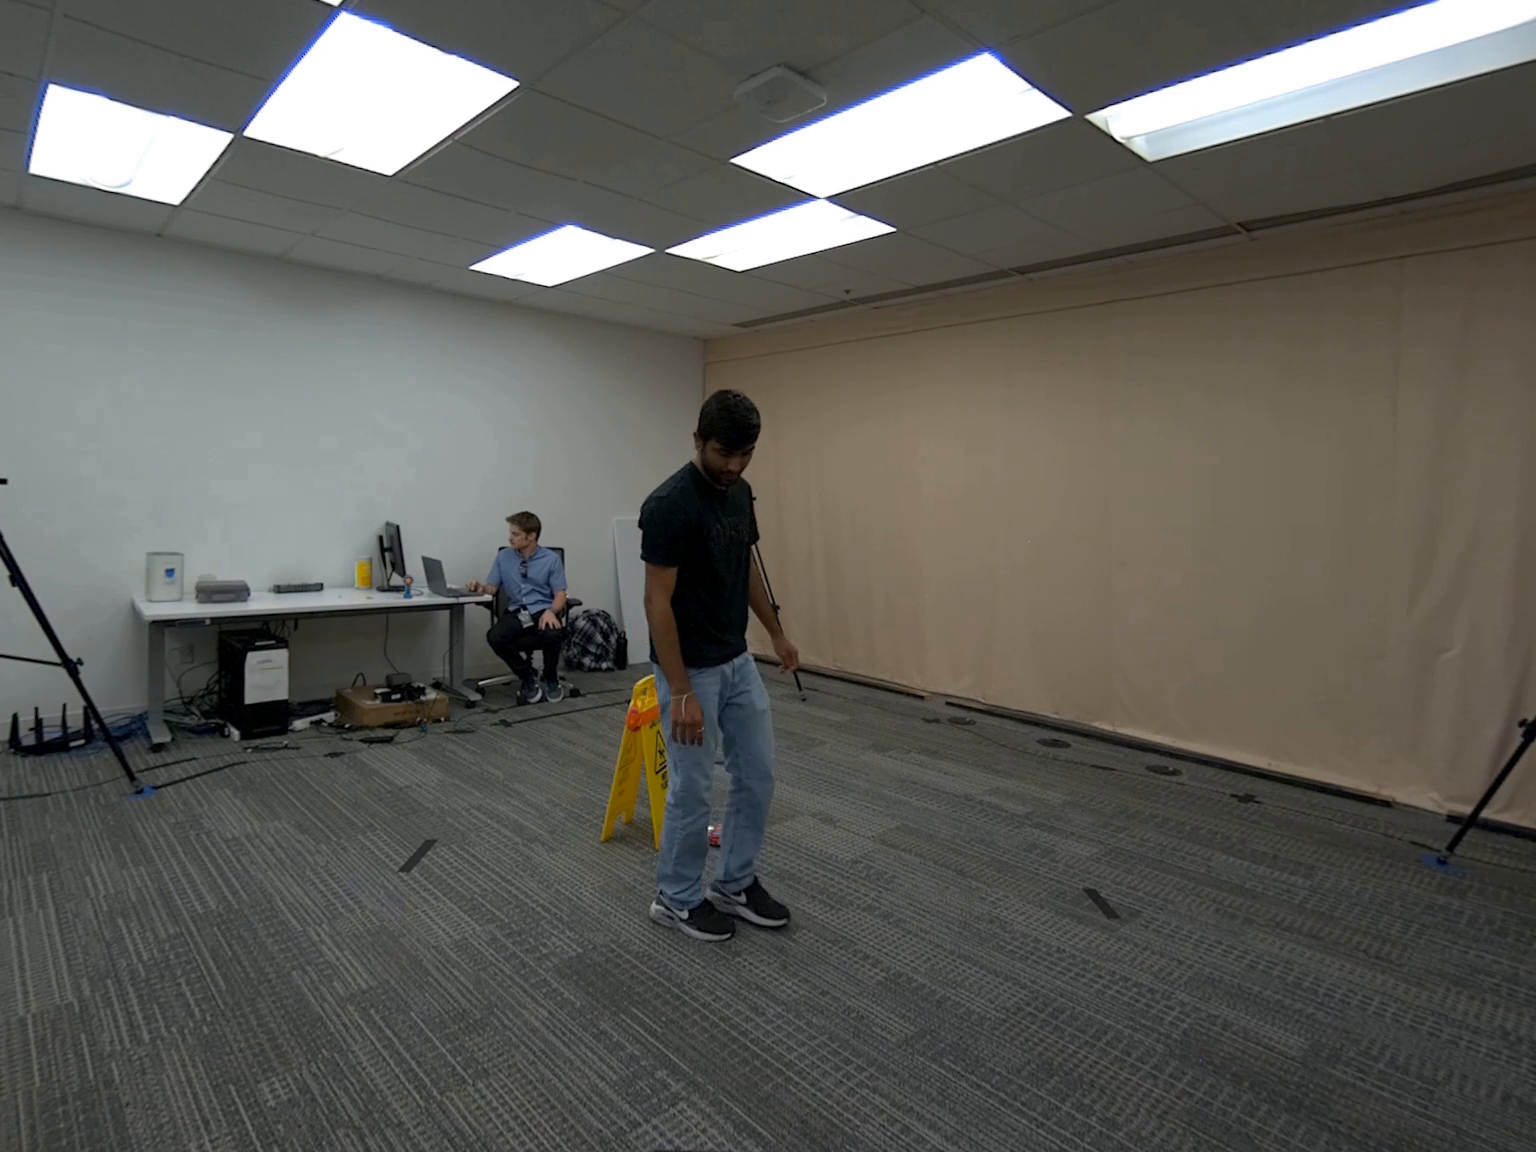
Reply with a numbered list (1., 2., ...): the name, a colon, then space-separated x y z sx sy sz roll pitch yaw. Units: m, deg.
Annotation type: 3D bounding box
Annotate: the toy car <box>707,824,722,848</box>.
1. toy car: -0.179 1.053 3.386 0.257 0.083 0.129 -9 2 15
